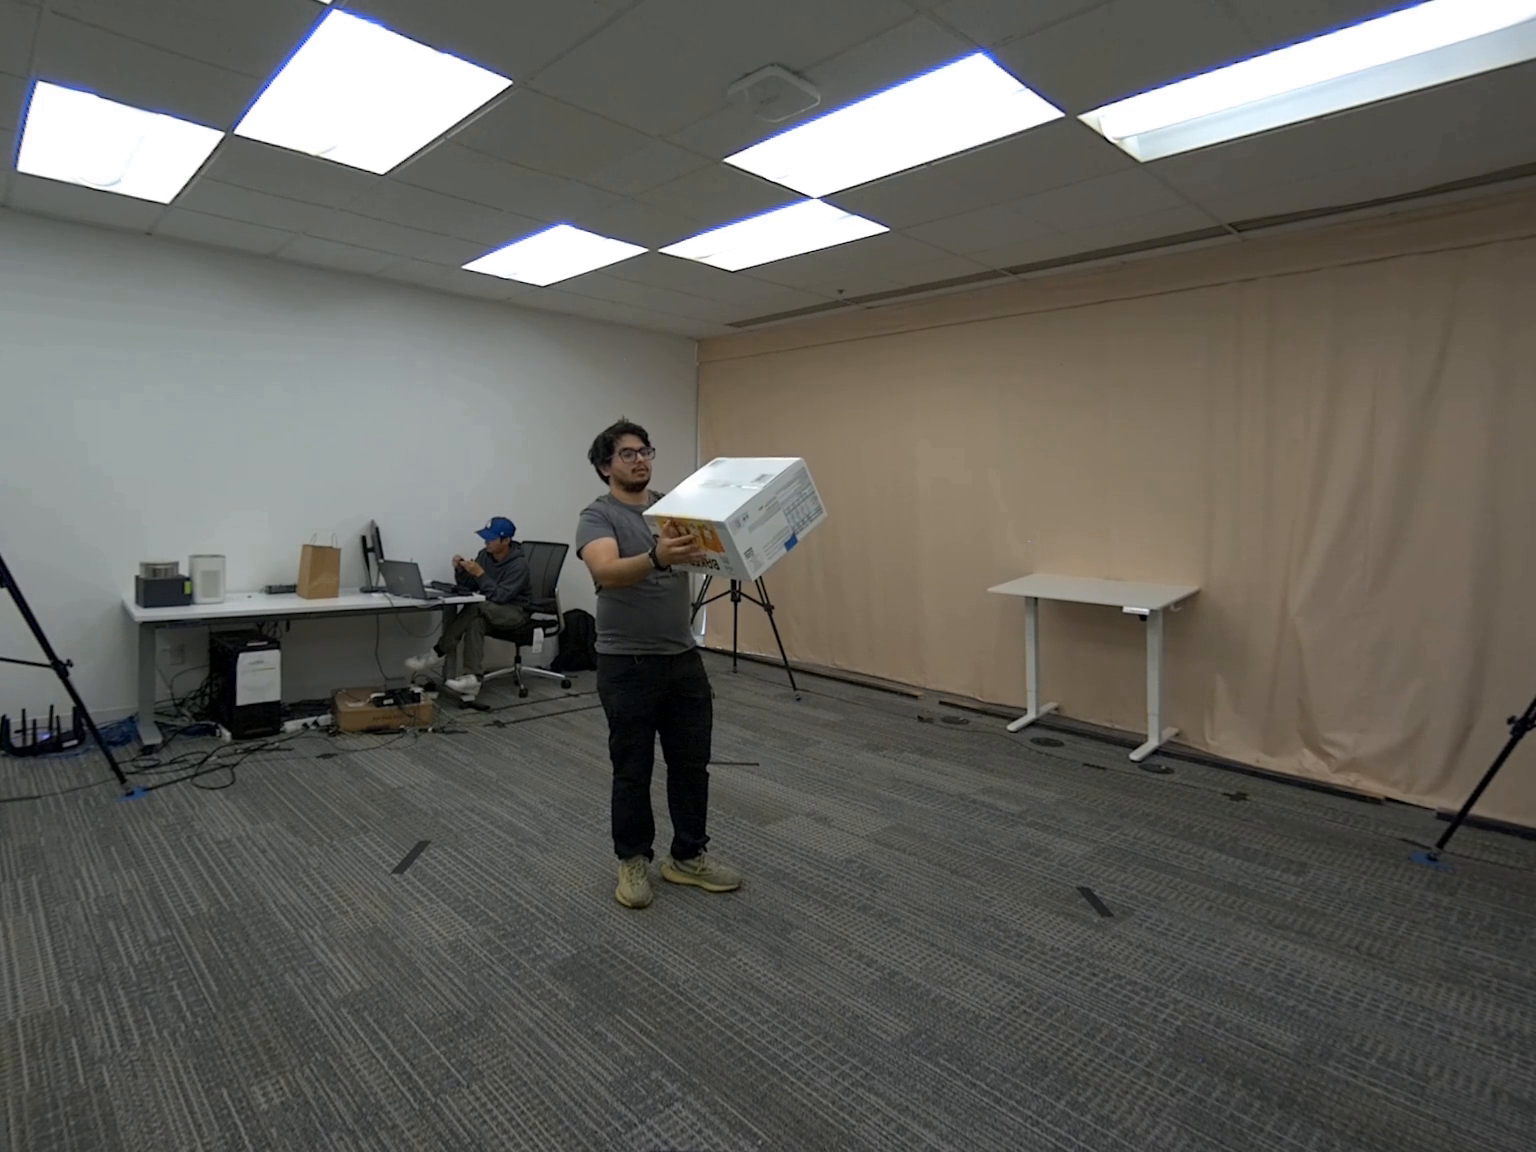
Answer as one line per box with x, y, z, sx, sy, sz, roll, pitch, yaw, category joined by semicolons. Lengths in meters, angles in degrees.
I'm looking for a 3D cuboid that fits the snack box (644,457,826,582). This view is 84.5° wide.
-0.109;-0.179;2.499;0.339;0.201;0.416;-41;30;-29;snack box
